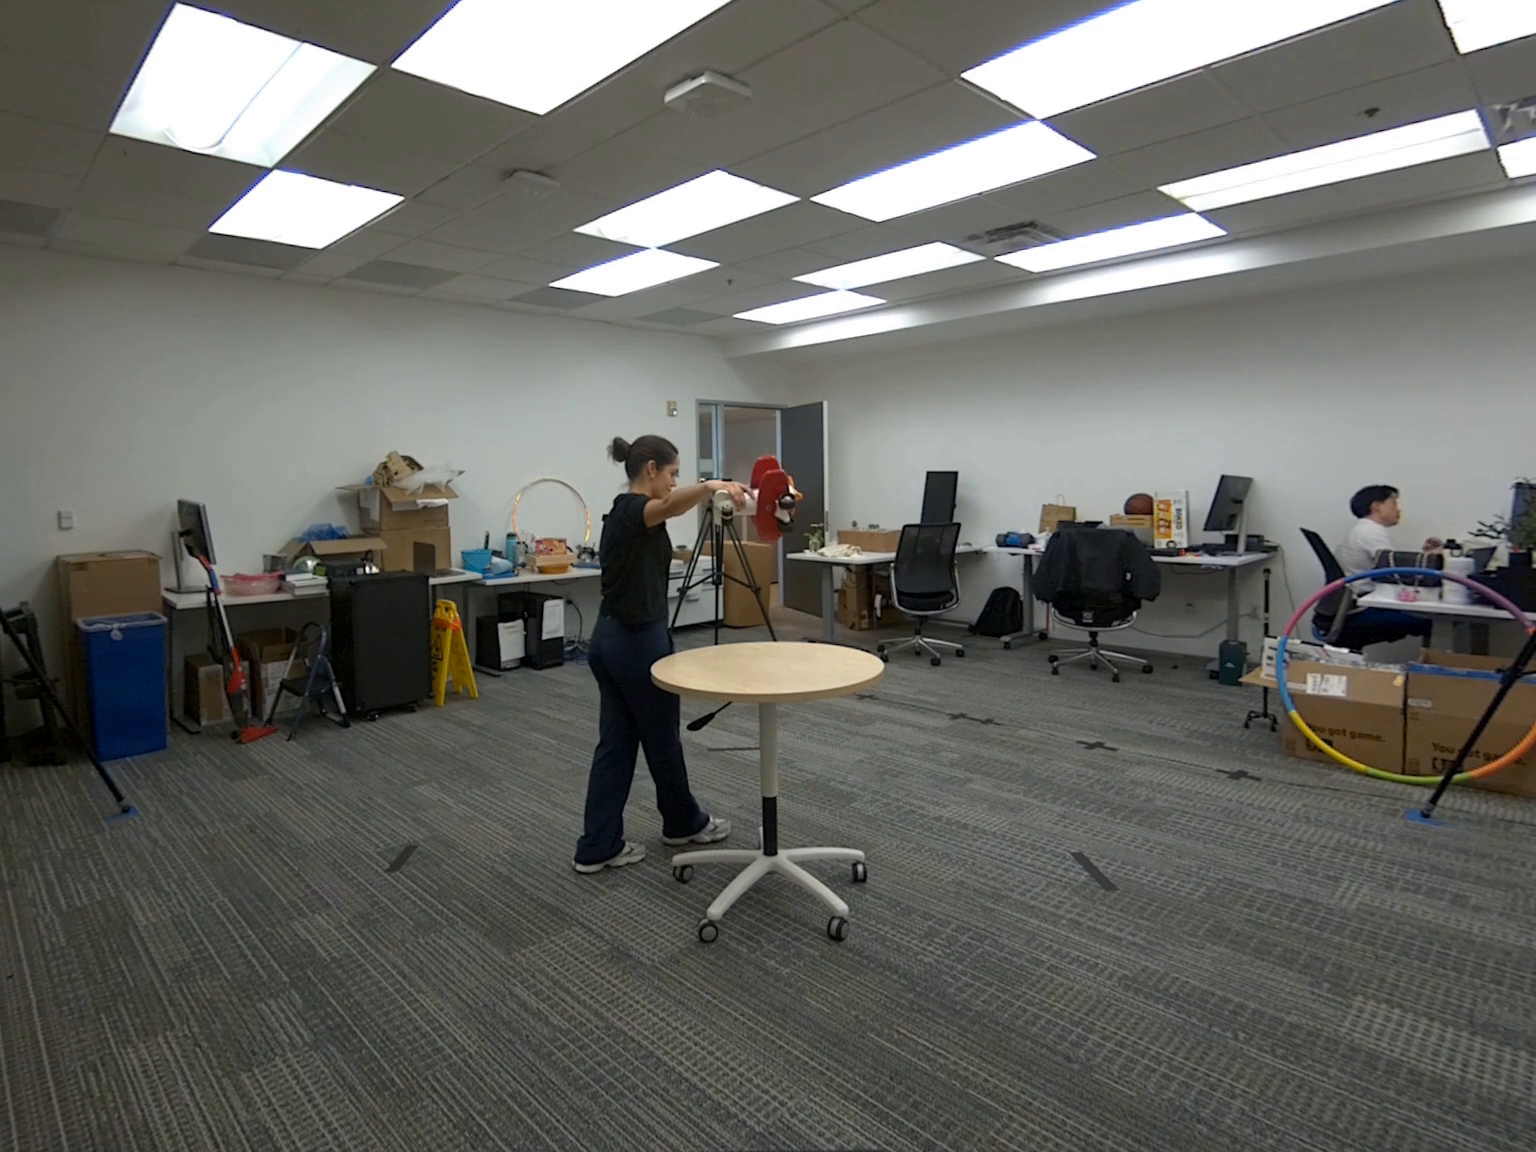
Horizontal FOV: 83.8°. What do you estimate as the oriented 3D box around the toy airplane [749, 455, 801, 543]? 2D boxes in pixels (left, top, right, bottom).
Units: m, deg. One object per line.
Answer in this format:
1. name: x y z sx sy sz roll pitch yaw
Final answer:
1. toy airplane: -0.033 -0.232 2.552 0.253 0.250 0.161 23 33 -20
